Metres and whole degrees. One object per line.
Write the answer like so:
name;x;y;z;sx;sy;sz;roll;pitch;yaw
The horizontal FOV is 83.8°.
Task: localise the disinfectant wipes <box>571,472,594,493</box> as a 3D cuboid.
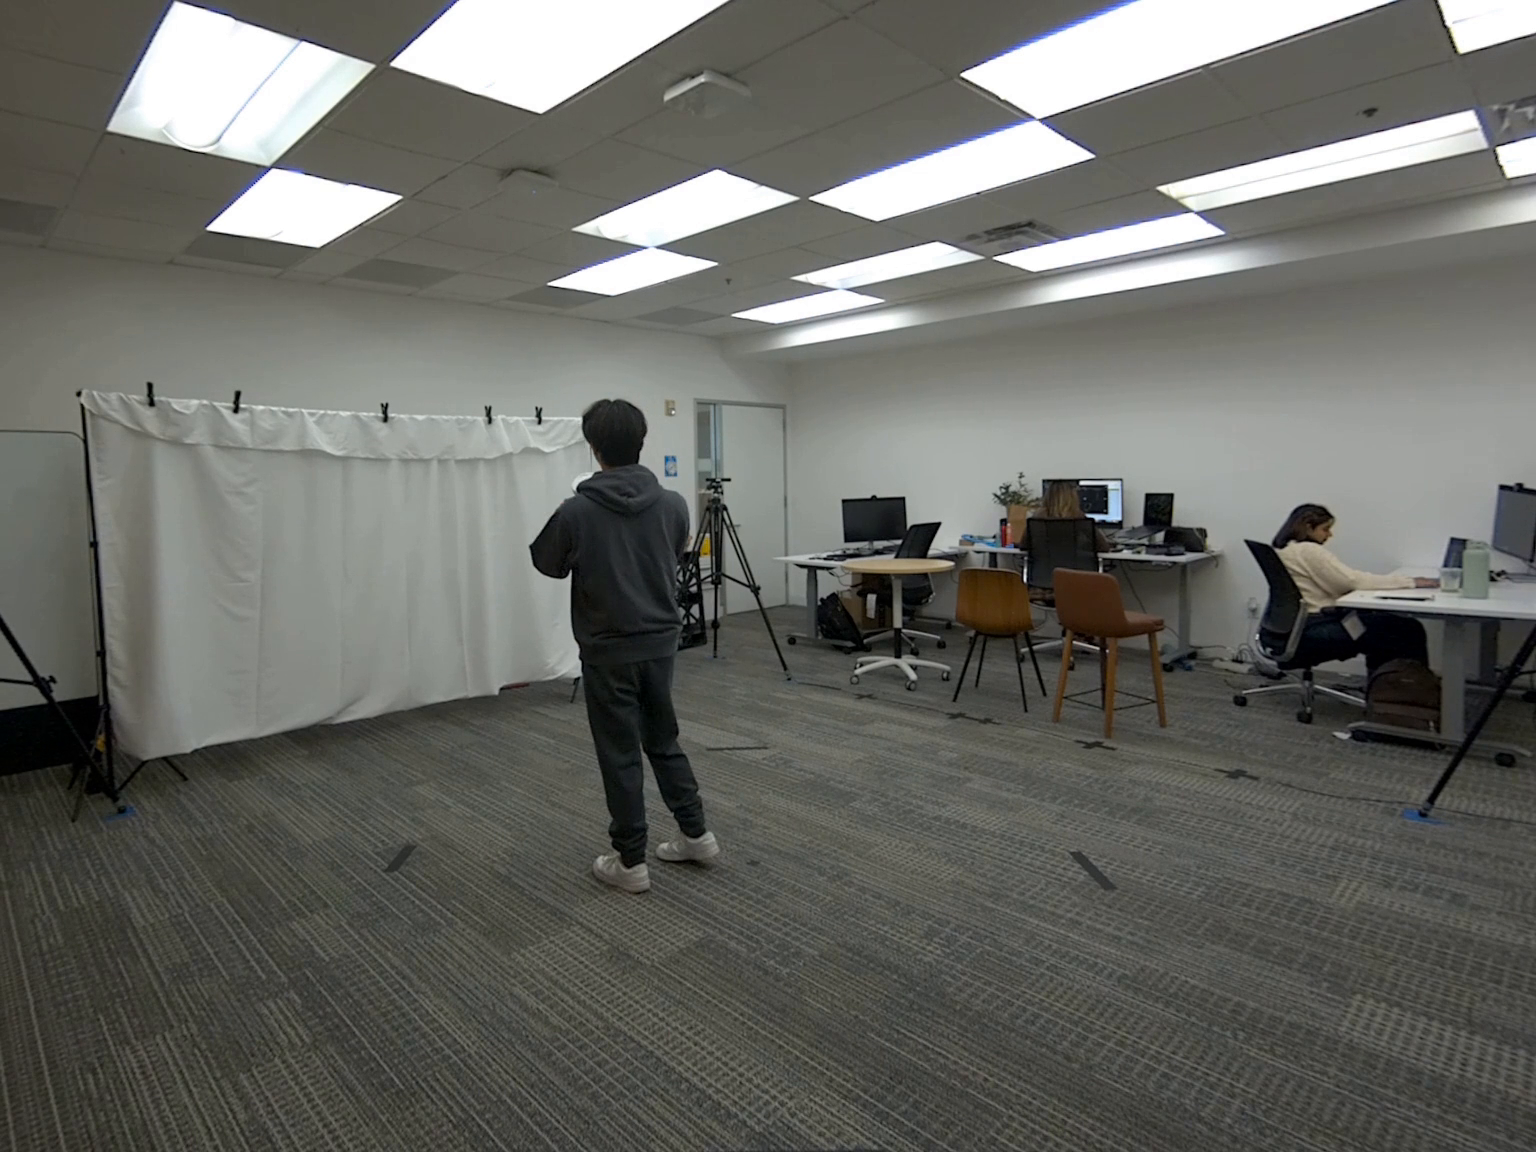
disinfectant wipes;-0.656;-0.284;3.250;0.119;0.210;0.121;-11;45;10
